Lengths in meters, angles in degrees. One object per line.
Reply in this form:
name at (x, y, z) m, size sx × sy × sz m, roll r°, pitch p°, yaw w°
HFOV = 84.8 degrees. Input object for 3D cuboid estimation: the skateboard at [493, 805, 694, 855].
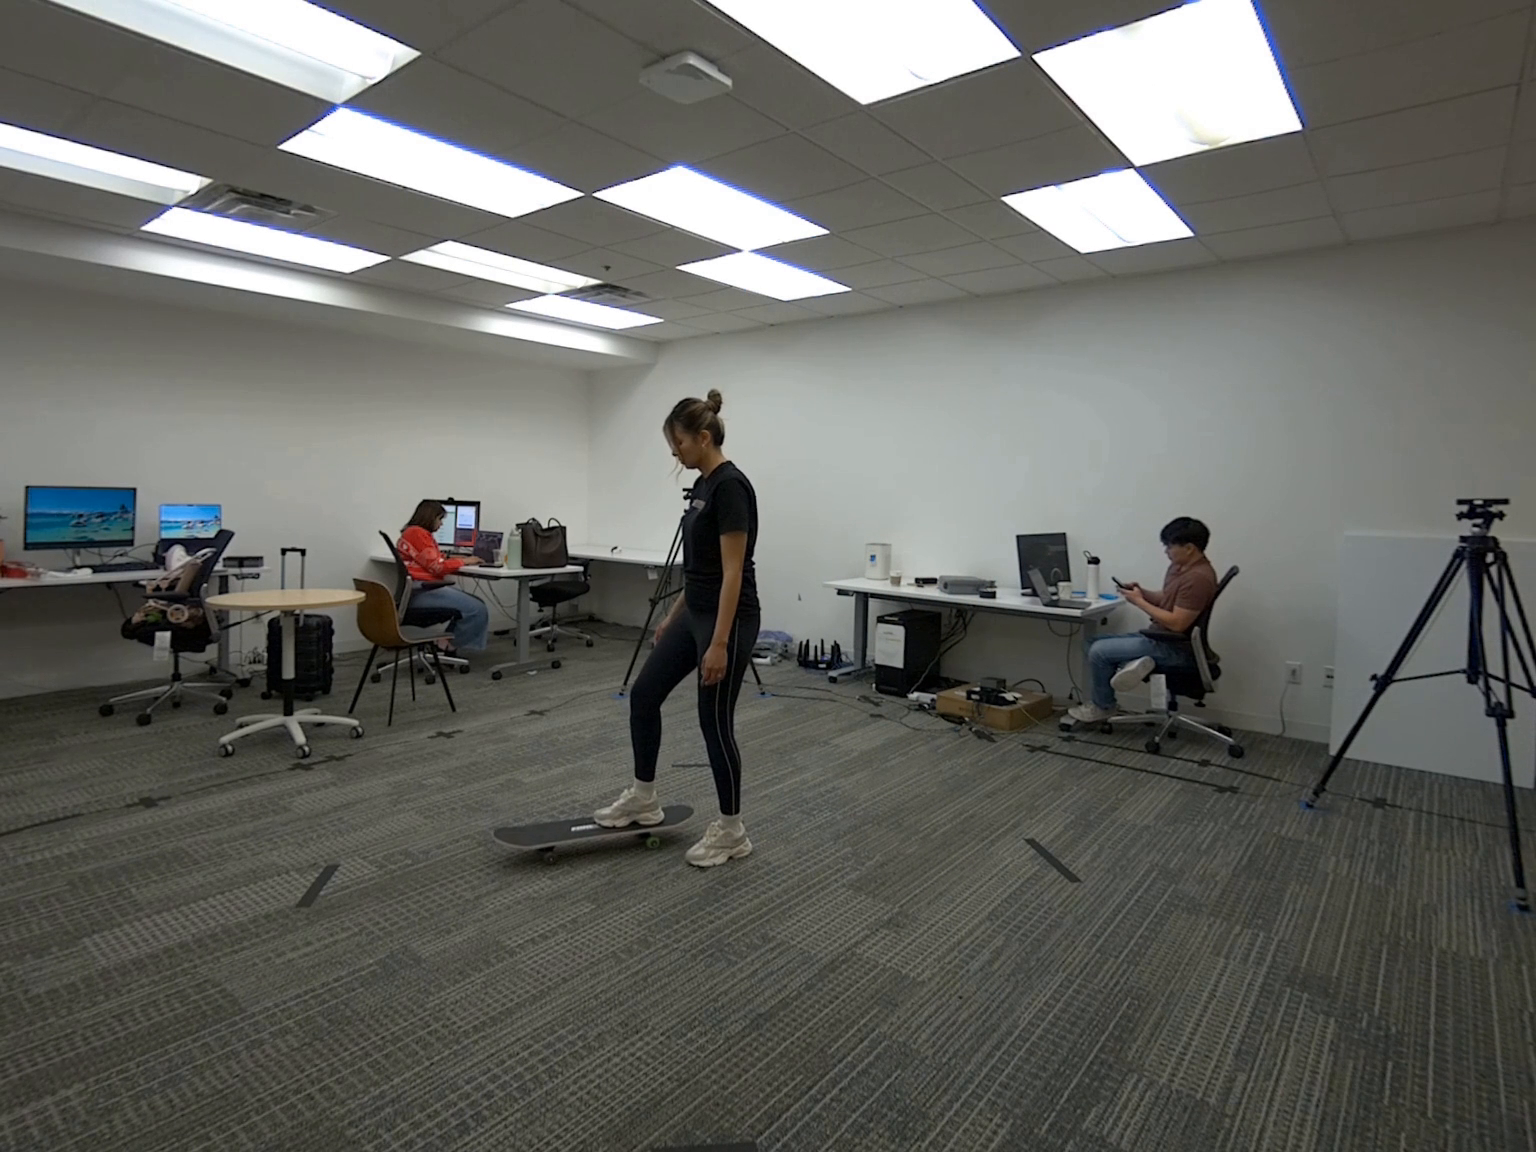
skateboard at (-0.669, 0.994, 3.271) m, size 0.768 × 0.110 × 0.198 m, roll -2°, pitch 6°, yaw -23°
